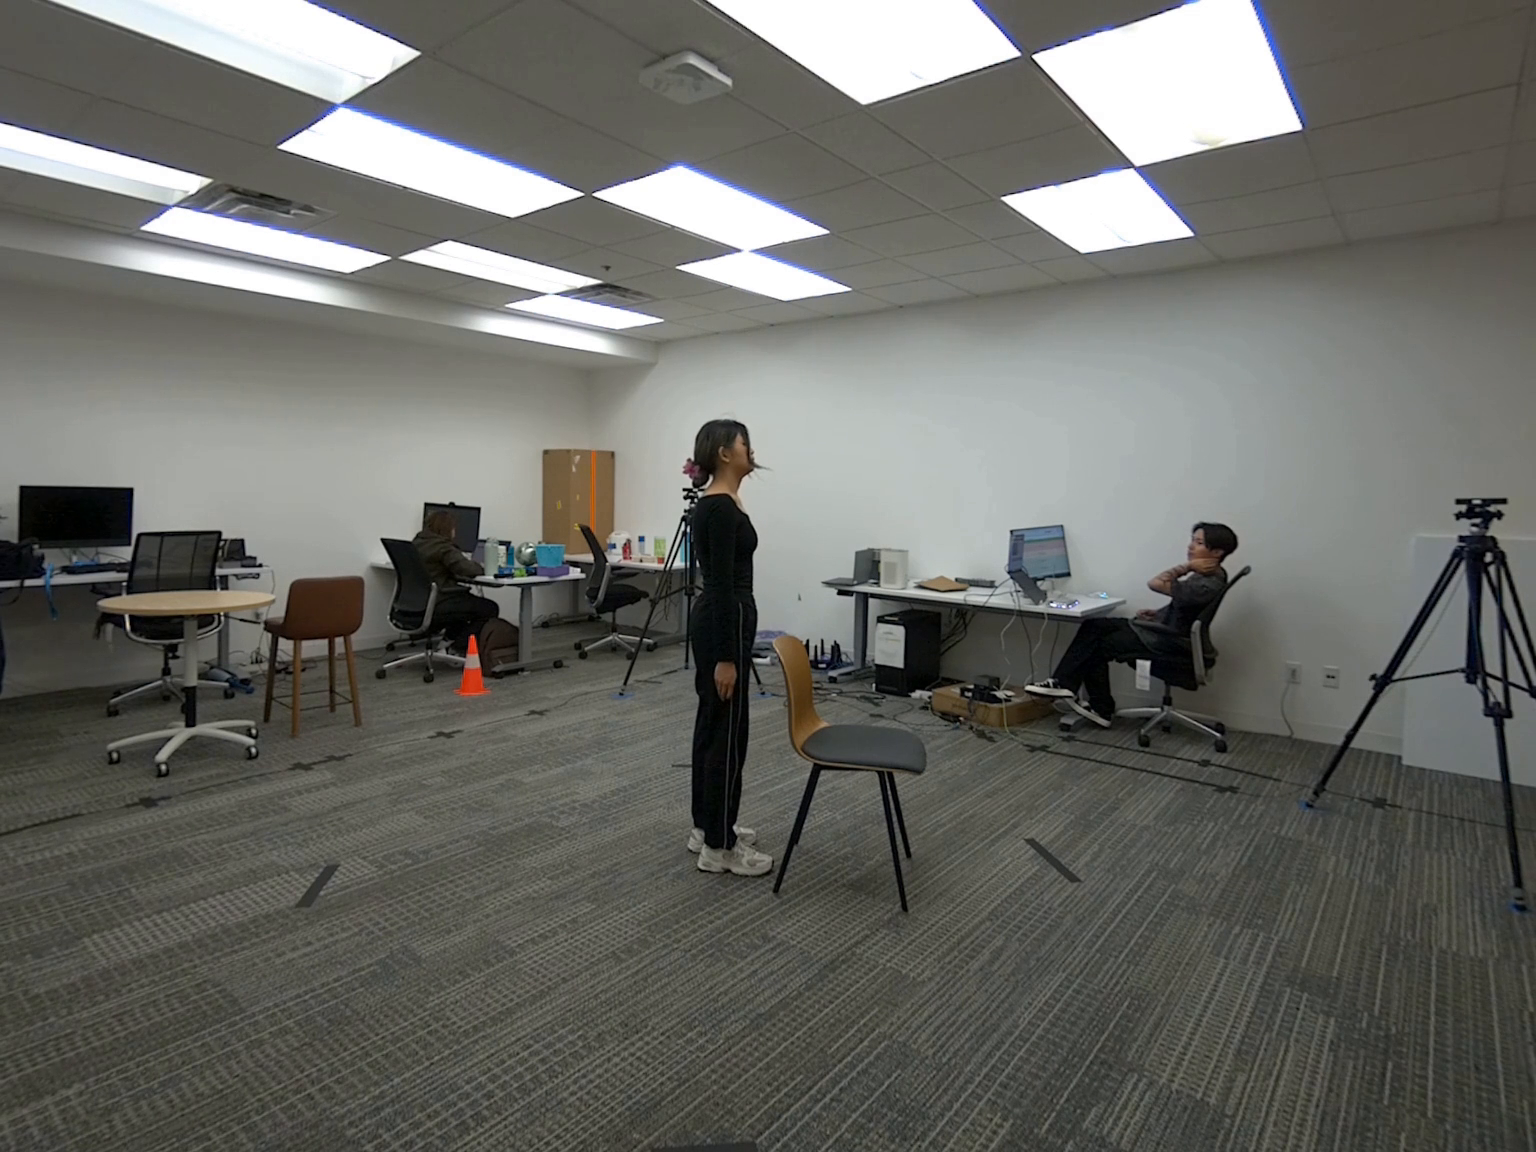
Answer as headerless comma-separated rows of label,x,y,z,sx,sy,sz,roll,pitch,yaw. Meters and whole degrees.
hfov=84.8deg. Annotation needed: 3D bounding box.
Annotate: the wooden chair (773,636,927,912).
wooden chair,0.290,0.656,3.067,0.531,0.876,0.472,-2,2,13
